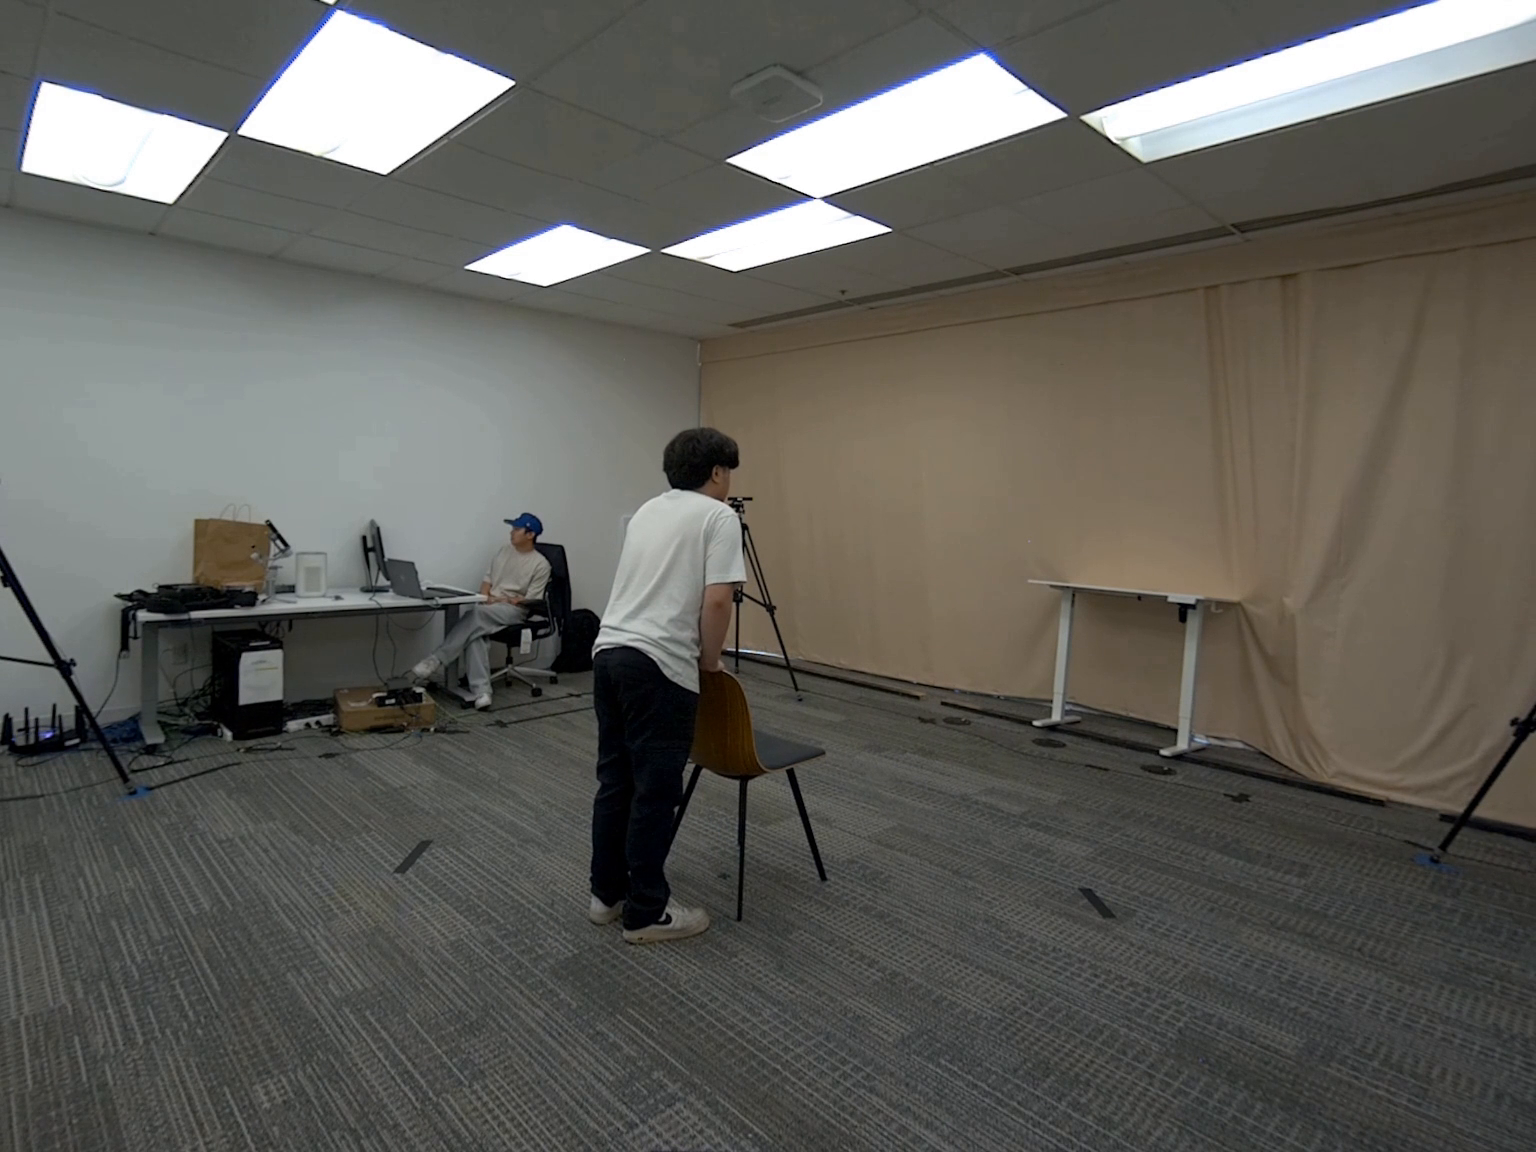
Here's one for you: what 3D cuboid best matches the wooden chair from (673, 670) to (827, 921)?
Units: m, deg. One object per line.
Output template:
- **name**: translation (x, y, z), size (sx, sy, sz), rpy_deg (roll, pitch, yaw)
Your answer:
- **wooden chair**: translation (-0.092, 0.689, 3.063), size (0.490, 0.873, 0.512), rpy_deg (4, 9, 44)
